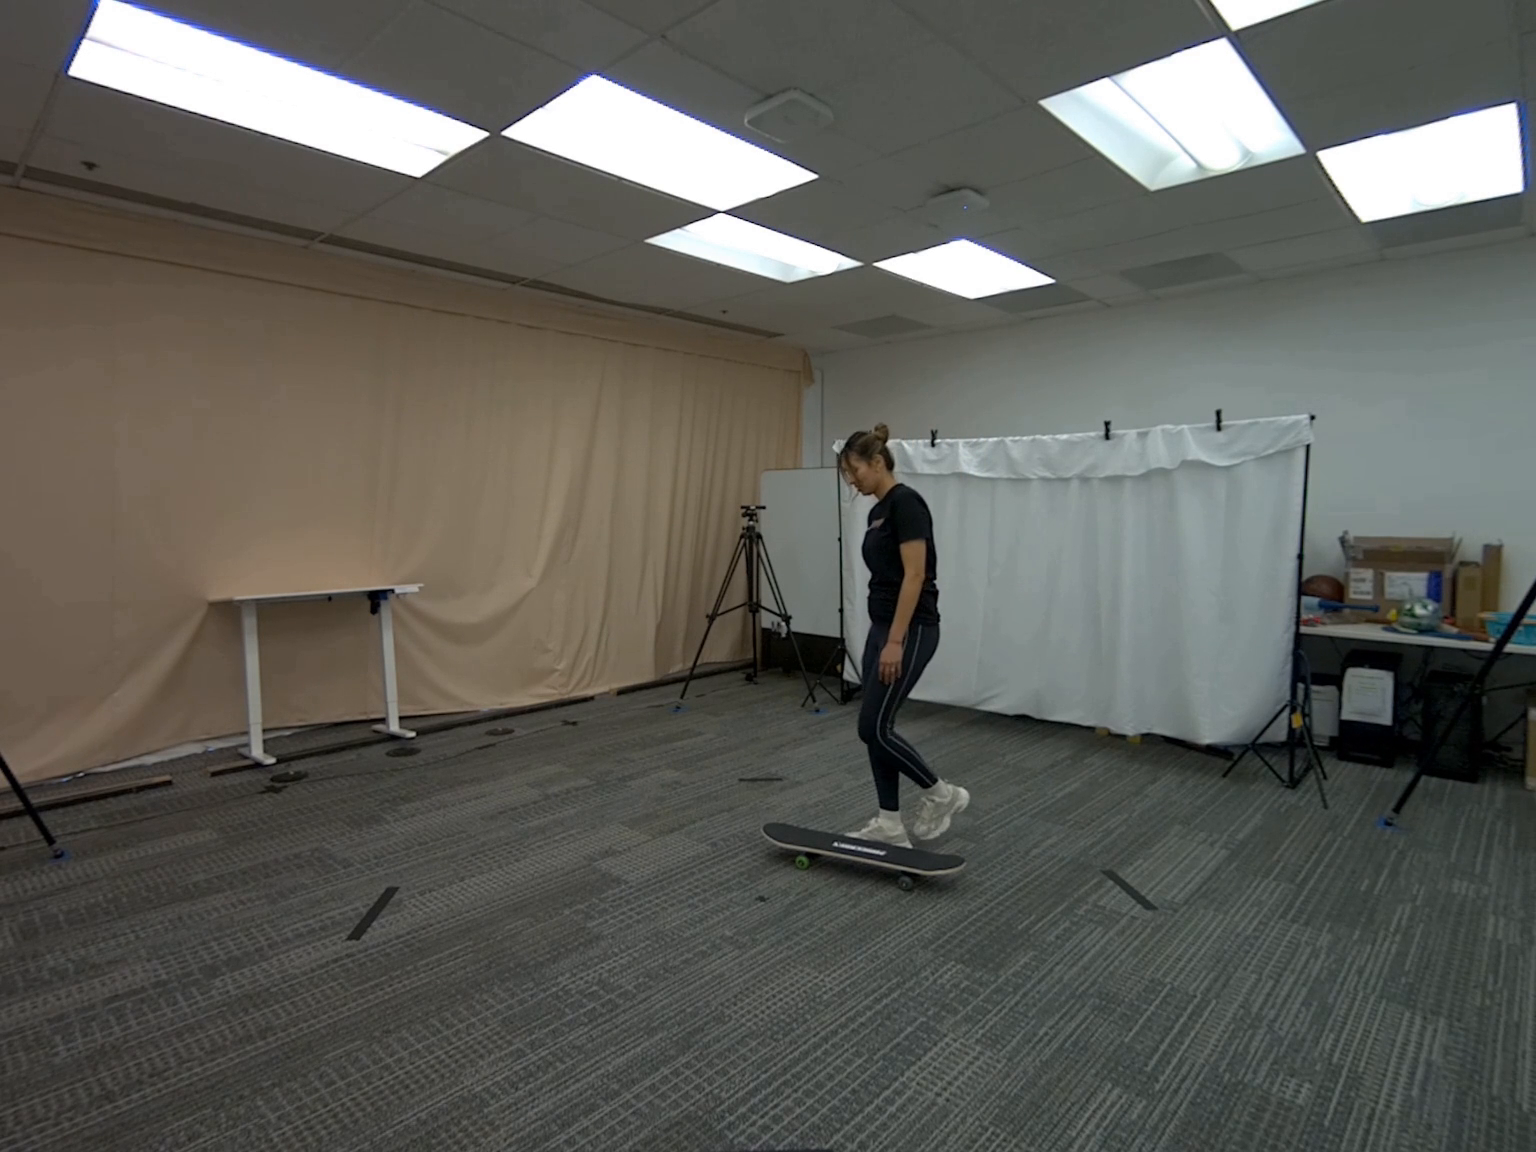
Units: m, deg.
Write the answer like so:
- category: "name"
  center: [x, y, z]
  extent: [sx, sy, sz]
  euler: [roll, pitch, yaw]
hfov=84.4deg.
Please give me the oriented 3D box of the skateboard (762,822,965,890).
- category: "skateboard"
  center: [0.353, 1.065, 3.205]
  extent: [0.806, 0.110, 0.189]
  euler: [2, 4, 26]
